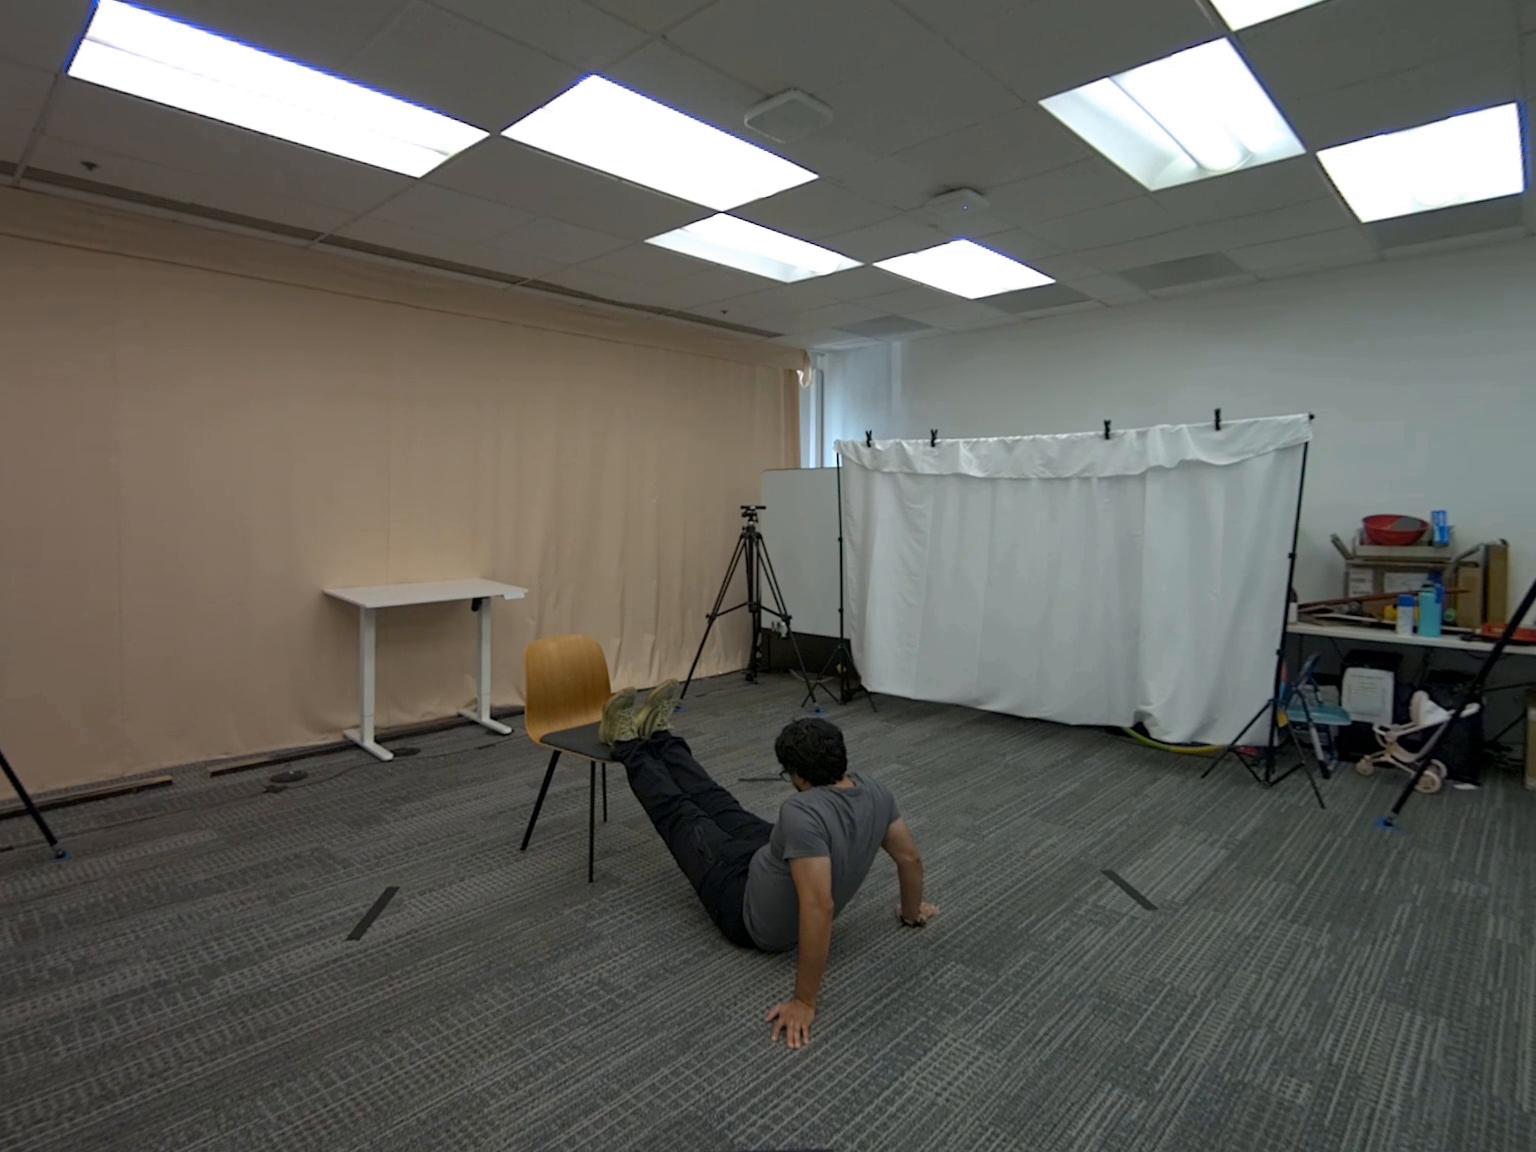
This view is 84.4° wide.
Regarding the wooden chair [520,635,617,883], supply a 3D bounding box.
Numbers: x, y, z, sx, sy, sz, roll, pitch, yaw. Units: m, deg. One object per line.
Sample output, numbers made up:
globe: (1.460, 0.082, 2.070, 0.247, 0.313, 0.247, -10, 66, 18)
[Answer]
wooden chair: (-0.688, 0.690, 3.402, 0.539, 0.877, 0.463, -3, 1, 42)
